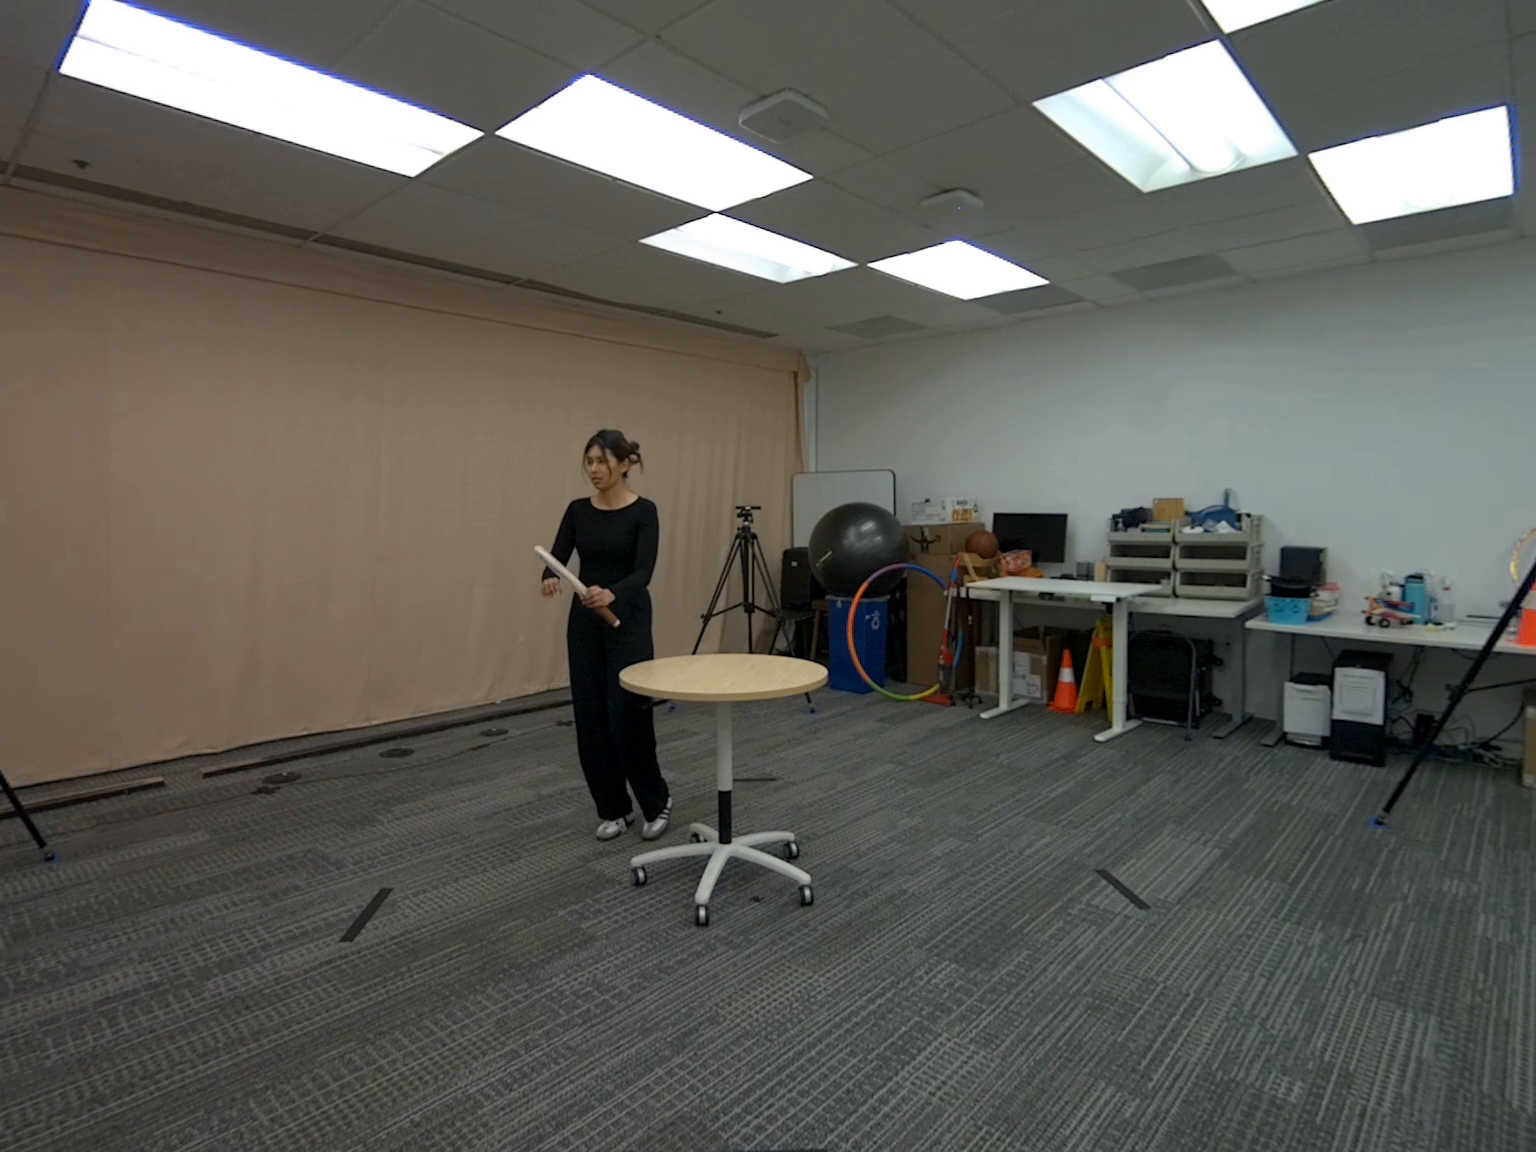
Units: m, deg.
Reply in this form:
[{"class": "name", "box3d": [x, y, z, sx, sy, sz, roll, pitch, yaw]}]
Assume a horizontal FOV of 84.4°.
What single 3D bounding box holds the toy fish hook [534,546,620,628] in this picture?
[{"class": "toy fish hook", "box3d": [-0.645, 0.072, 3.009, 0.233, 0.048, 0.489, 41, -8, 47]}]
